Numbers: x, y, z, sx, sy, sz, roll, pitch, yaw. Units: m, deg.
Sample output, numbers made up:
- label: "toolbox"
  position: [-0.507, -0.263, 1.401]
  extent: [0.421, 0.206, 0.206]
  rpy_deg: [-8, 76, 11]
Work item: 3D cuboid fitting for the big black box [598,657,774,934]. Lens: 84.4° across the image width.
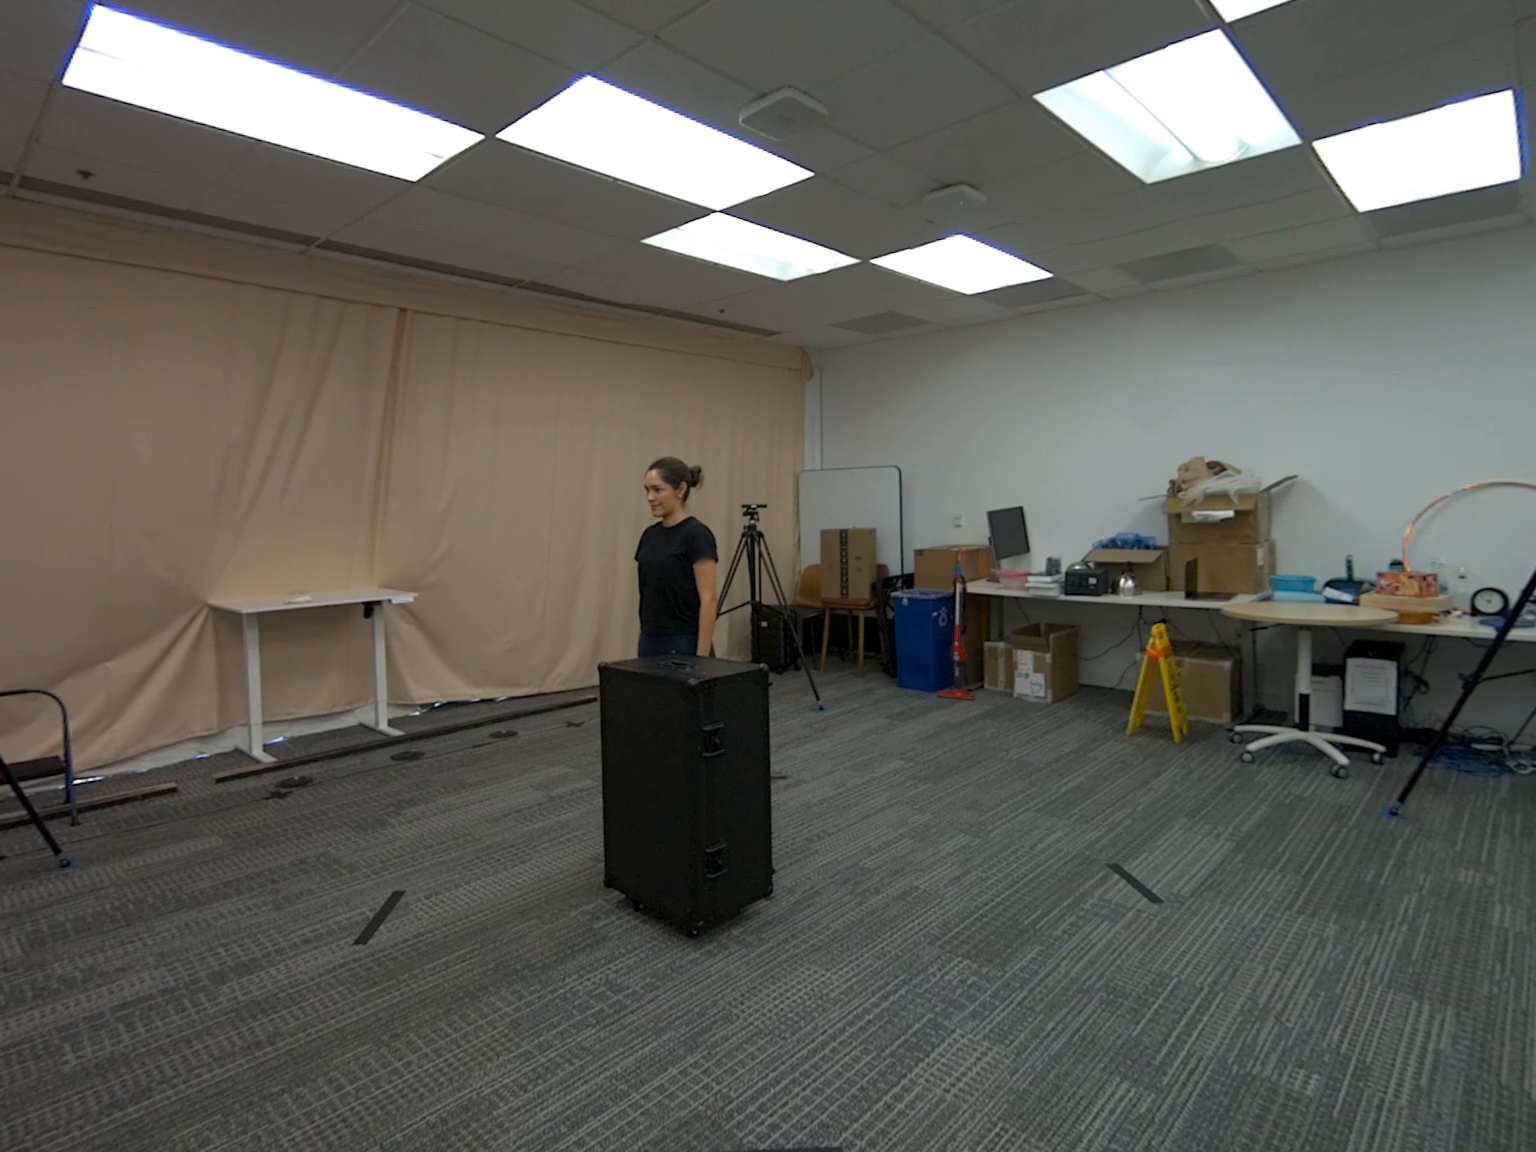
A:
- label: "big black box"
  position: [-0.262, 0.729, 2.898]
  extent: [0.538, 0.860, 0.384]
  rpy_deg: [2, 4, 43]
